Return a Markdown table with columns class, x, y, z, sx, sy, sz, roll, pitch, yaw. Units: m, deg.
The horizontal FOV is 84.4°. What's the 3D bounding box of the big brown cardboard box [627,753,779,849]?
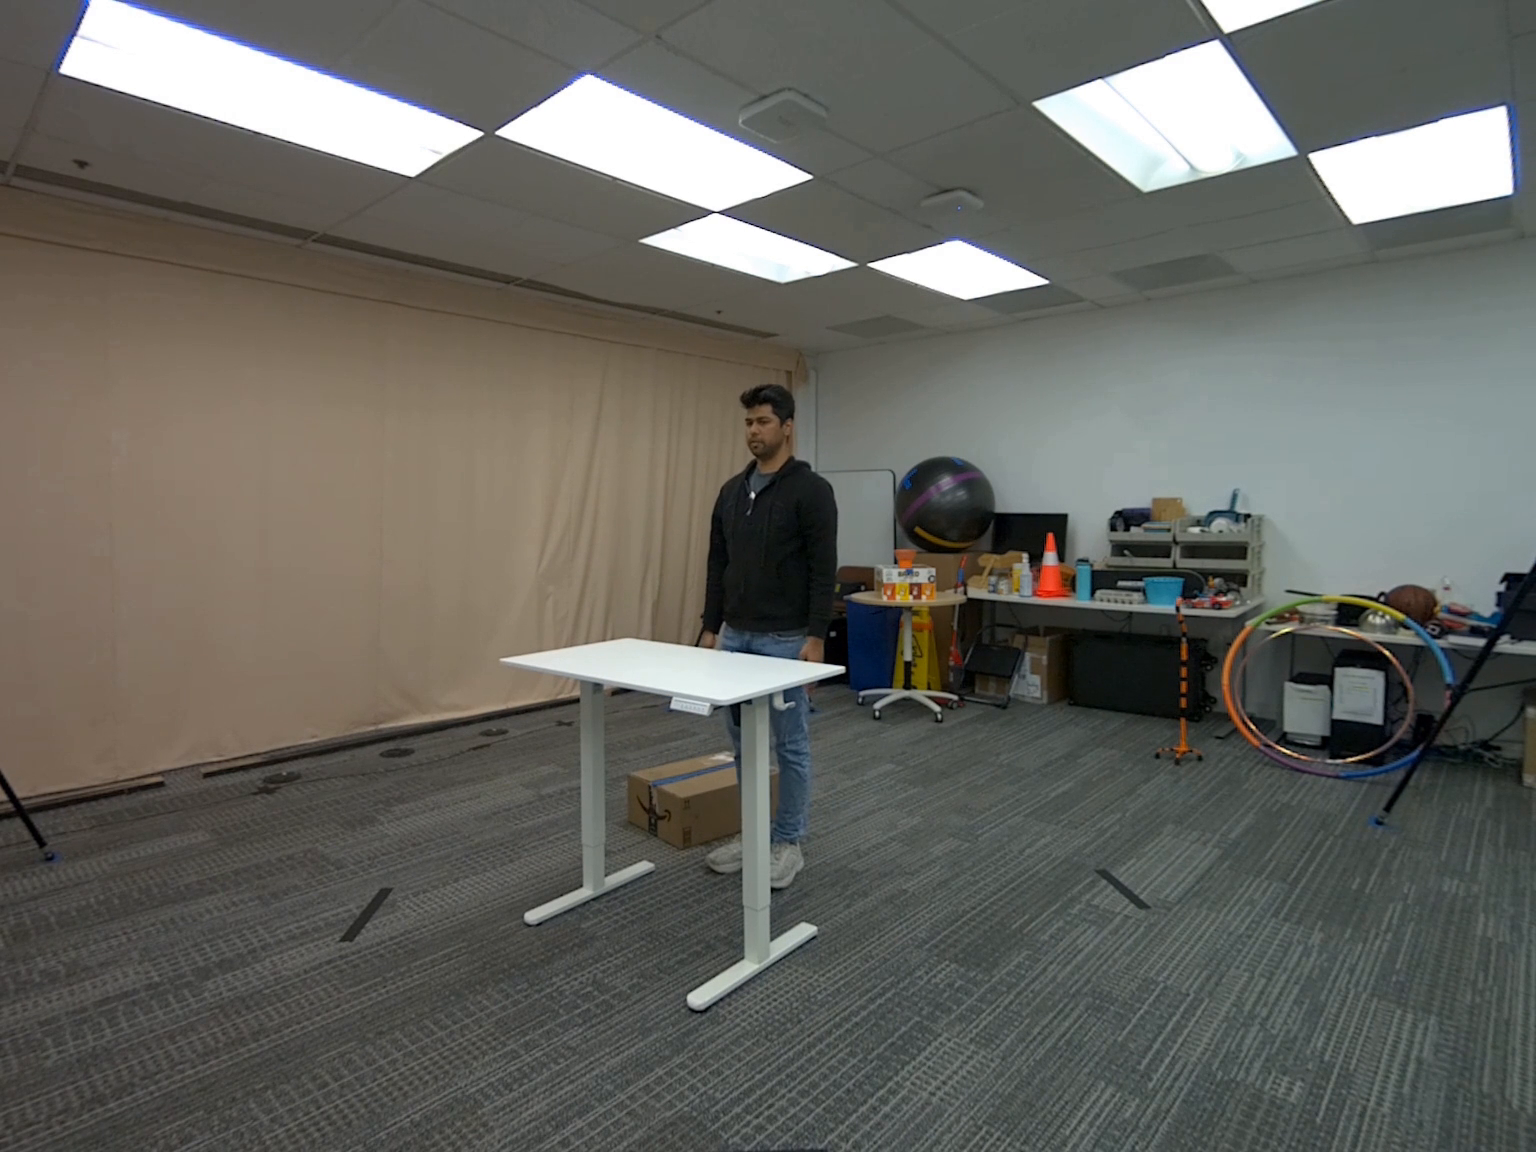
| class | x | y | z | sx | sy | sz | roll | pitch | yaw |
| --- | --- | --- | --- | --- | --- | --- | --- | --- | --- |
| big brown cardboard box | -0.273 | 0.974 | 3.736 | 0.571 | 0.232 | 0.431 | -5 | 6 | -39 |
